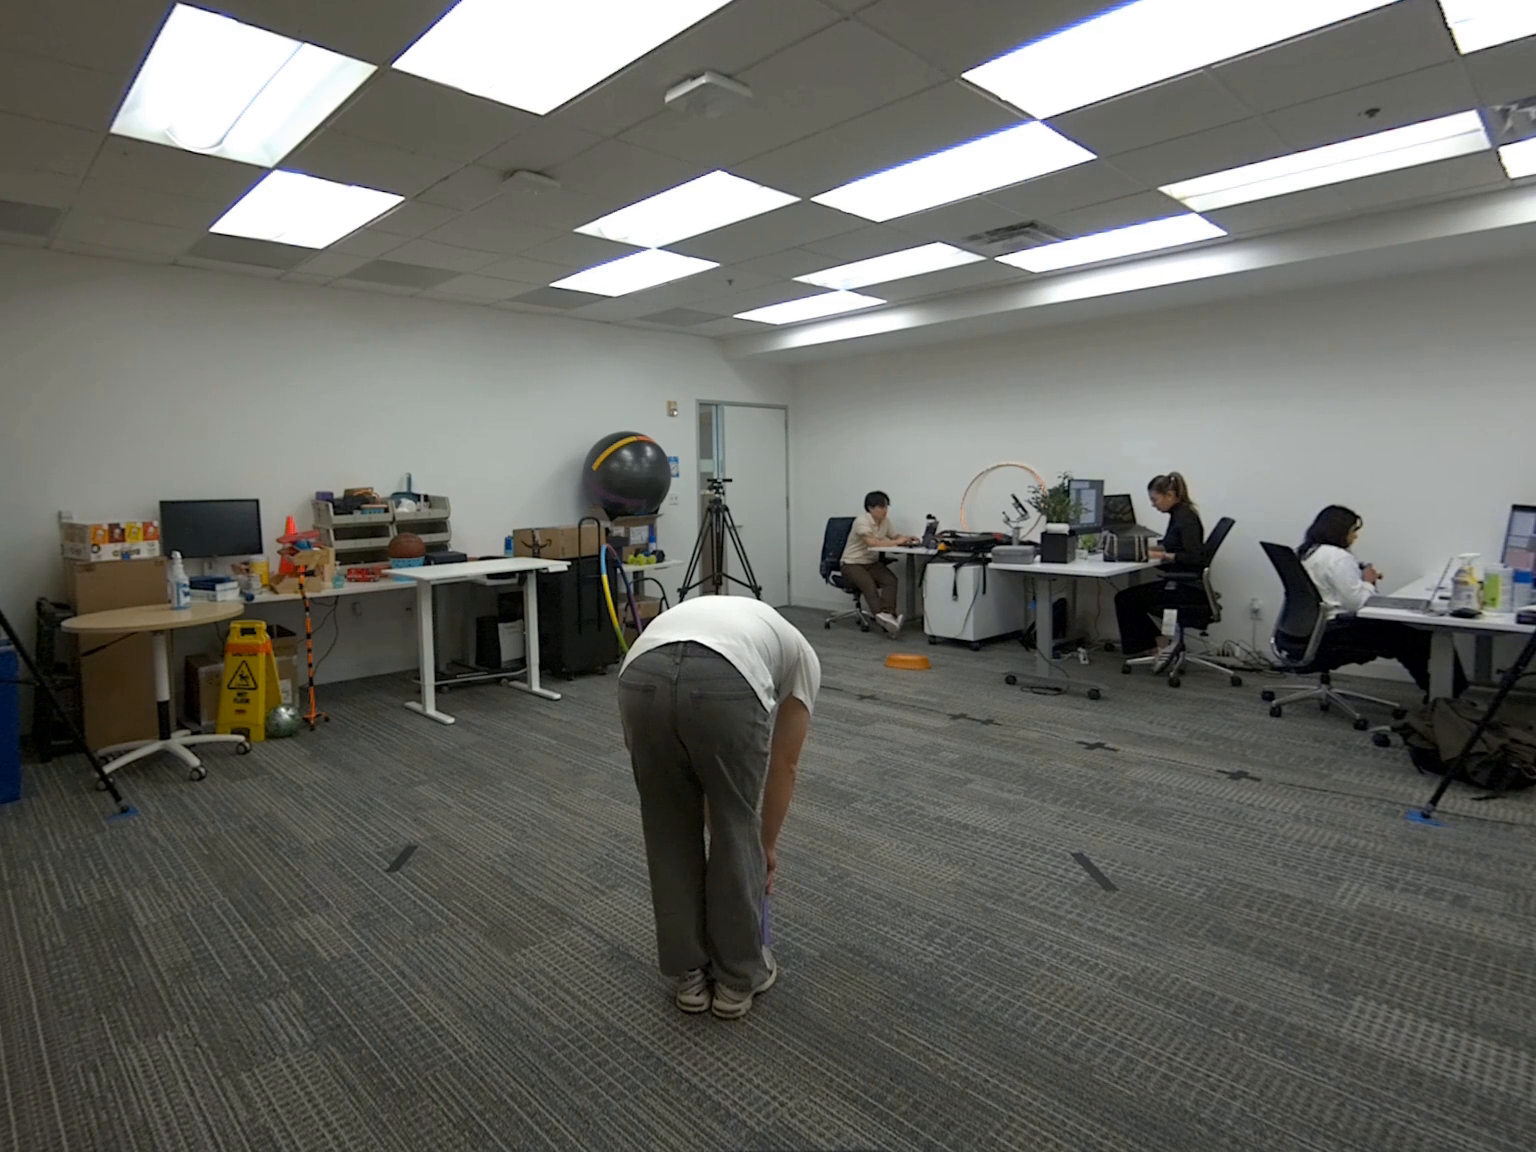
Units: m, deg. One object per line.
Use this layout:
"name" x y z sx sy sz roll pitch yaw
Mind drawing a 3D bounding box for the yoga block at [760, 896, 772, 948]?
"yoga block" -0.061 1.007 2.548 0.150 0.229 0.076 1 3 10
